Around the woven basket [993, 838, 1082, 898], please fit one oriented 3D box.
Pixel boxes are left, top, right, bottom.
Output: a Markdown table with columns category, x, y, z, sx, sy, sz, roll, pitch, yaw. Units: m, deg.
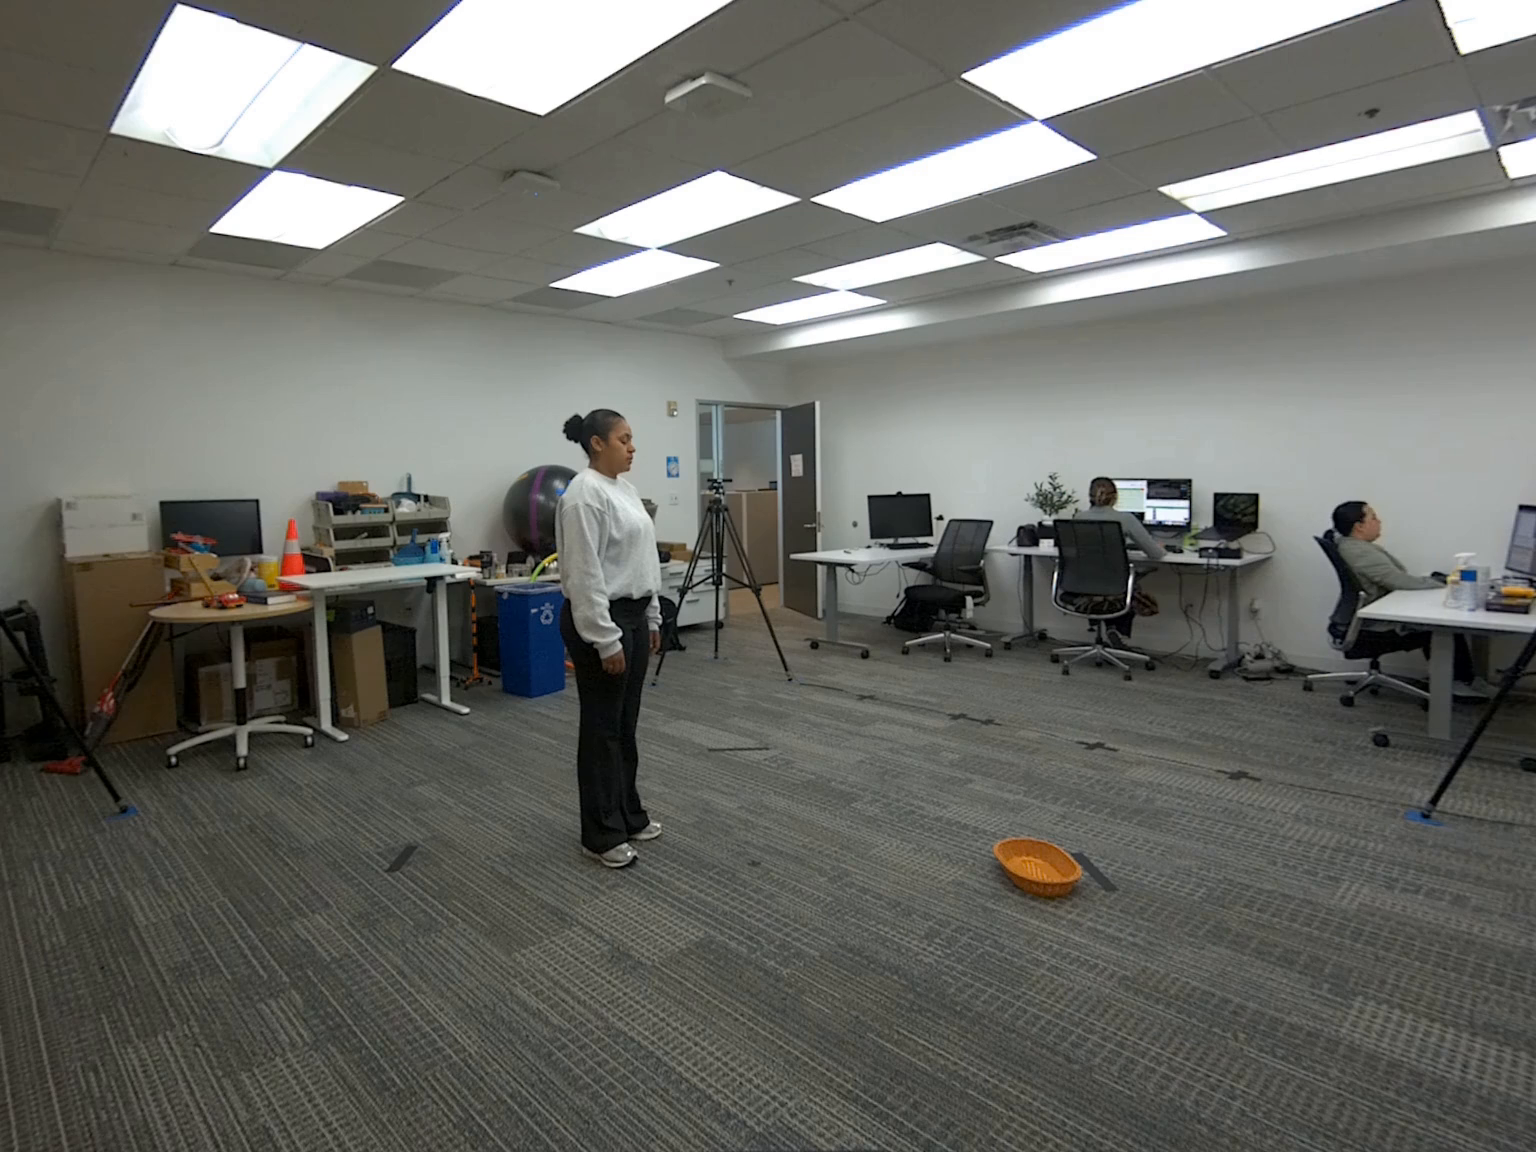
| category | x | y | z | sx | sy | sz | roll | pitch | yaw |
| --- | --- | --- | --- | --- | --- | --- | --- | --- | --- |
| woven basket | 0.933 | 1.010 | 2.952 | 0.251 | 0.073 | 0.354 | -2 | 6 | -7 |
